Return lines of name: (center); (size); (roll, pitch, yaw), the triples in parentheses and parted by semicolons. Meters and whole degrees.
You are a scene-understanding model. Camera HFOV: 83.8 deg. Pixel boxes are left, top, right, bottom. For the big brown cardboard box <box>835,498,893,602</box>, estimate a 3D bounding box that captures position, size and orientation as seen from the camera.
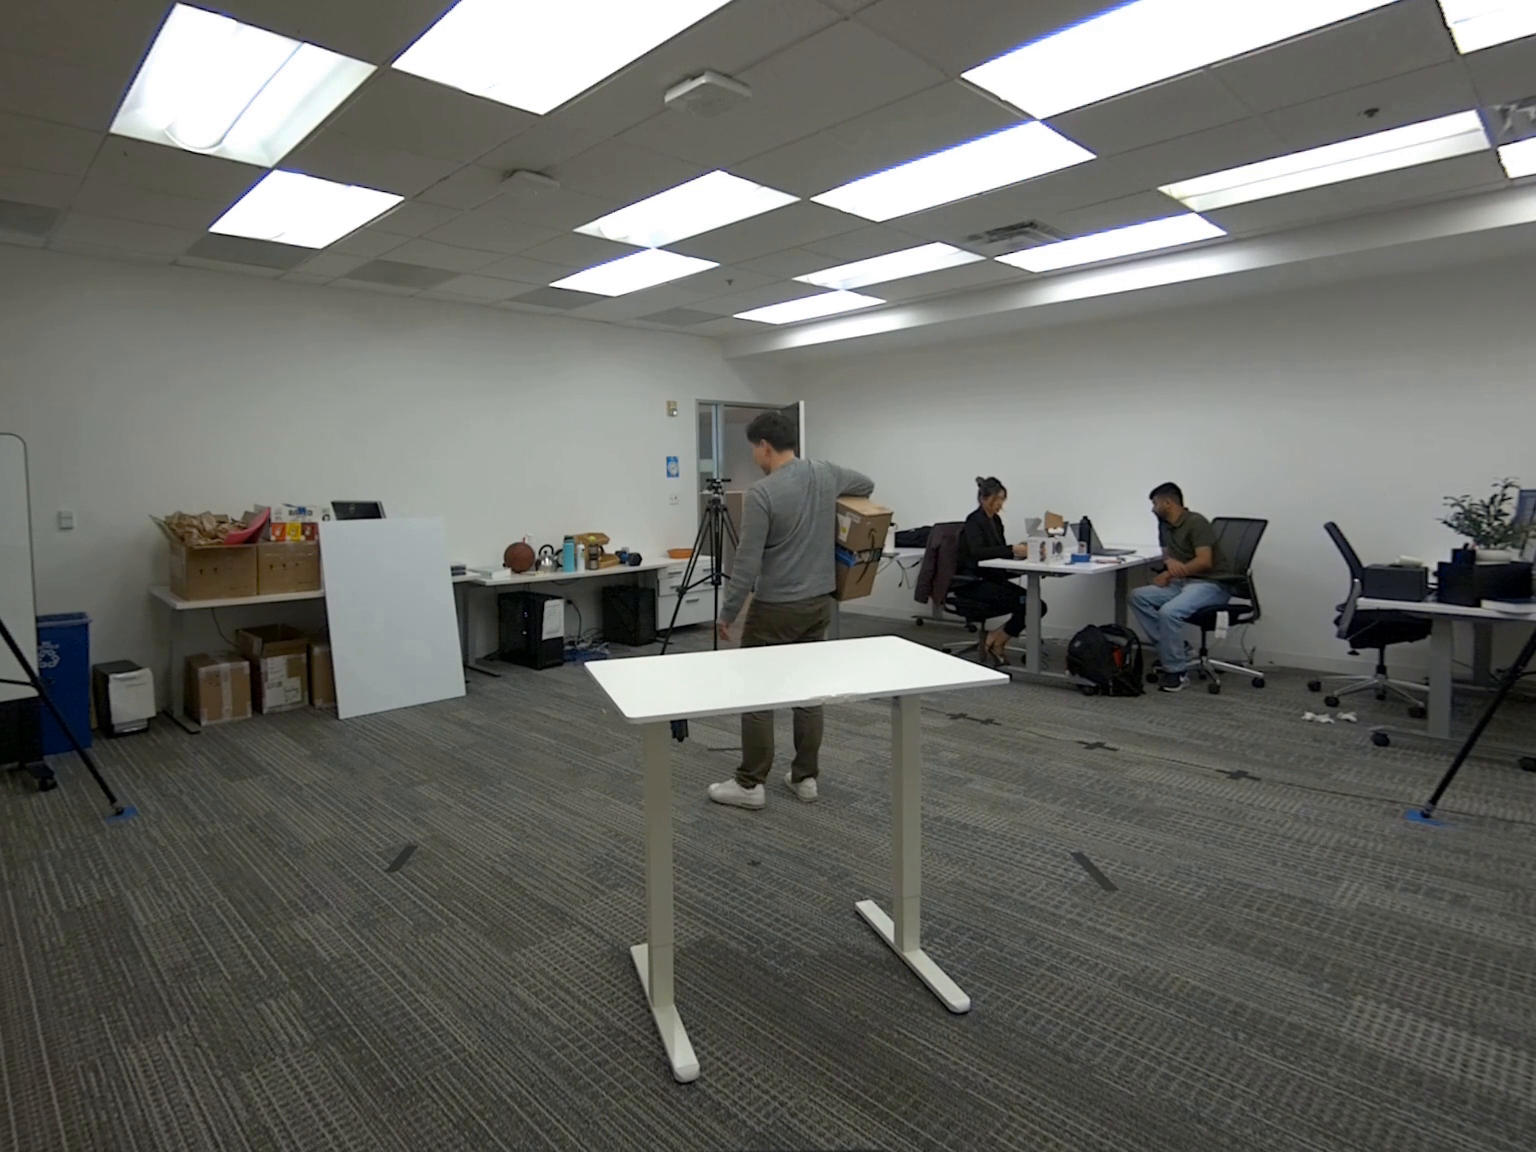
big brown cardboard box: (0.239, -0.194, 3.917); (0.227, 0.412, 0.612); (-7, 27, -43)
